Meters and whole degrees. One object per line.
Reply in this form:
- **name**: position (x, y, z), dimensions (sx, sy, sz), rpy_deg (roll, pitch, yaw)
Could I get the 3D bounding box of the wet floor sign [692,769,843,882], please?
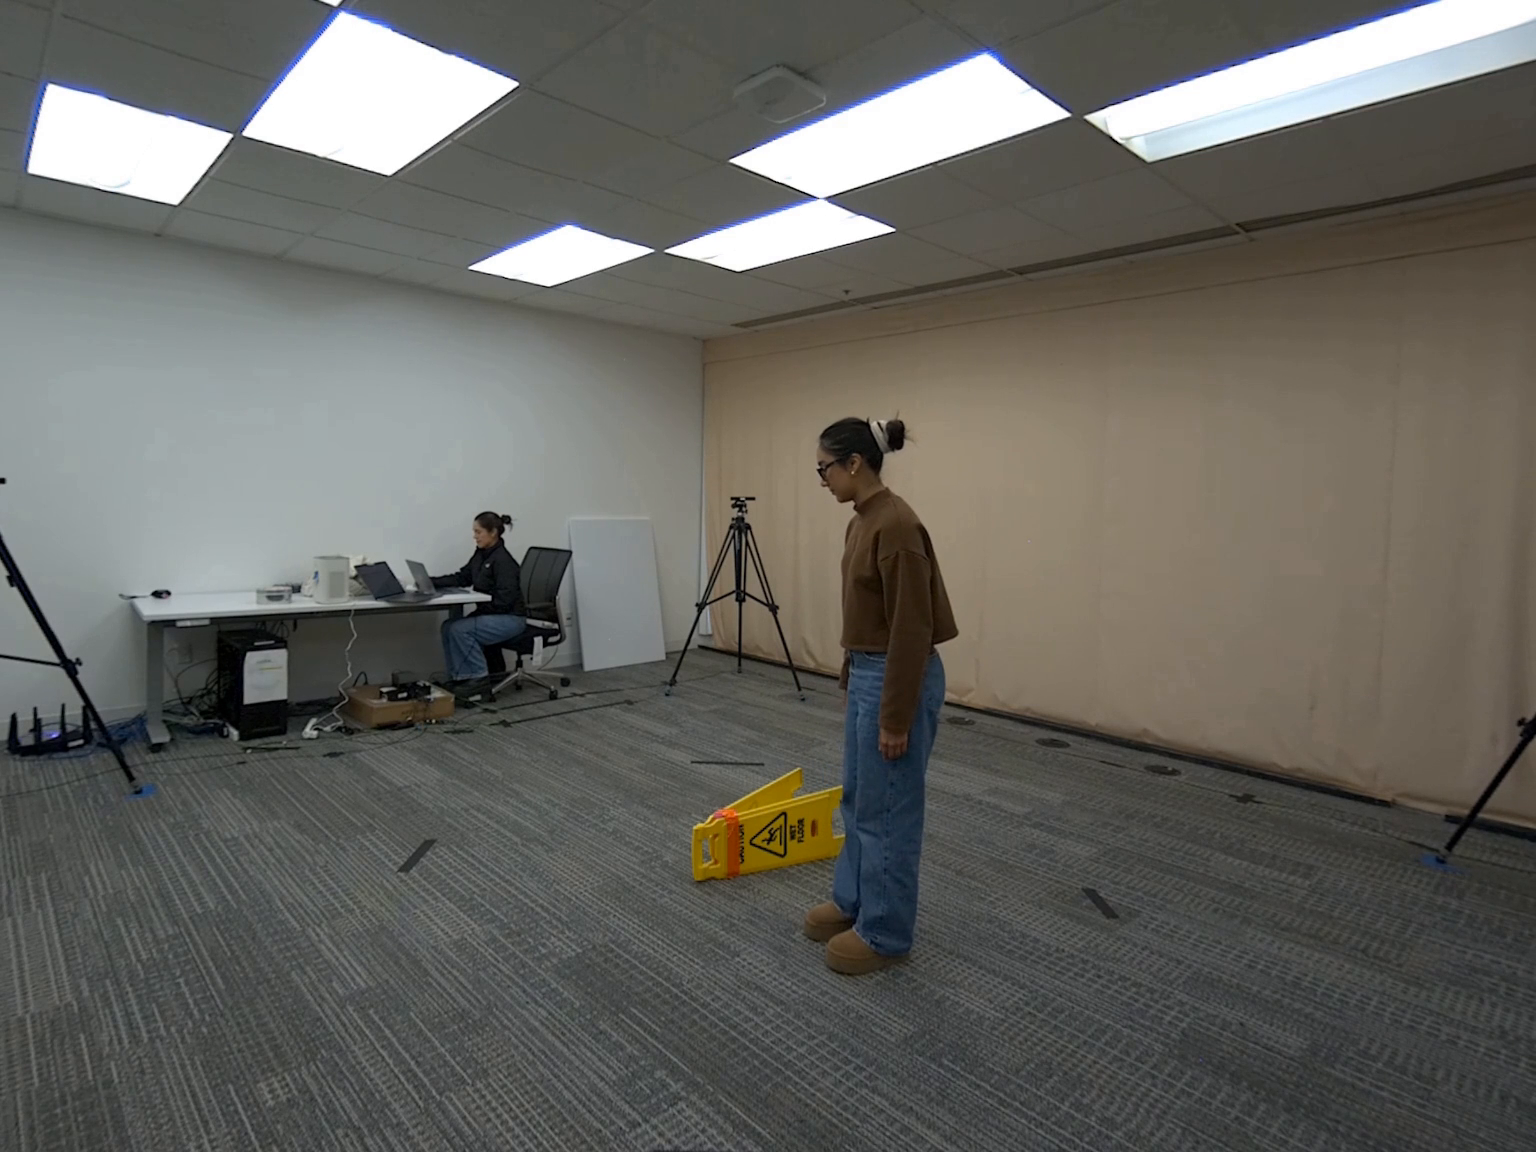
- **wet floor sign**: position (-0.022, 0.974, 3.217), dimensions (0.632, 0.281, 0.297), rpy_deg (-6, 7, -39)
